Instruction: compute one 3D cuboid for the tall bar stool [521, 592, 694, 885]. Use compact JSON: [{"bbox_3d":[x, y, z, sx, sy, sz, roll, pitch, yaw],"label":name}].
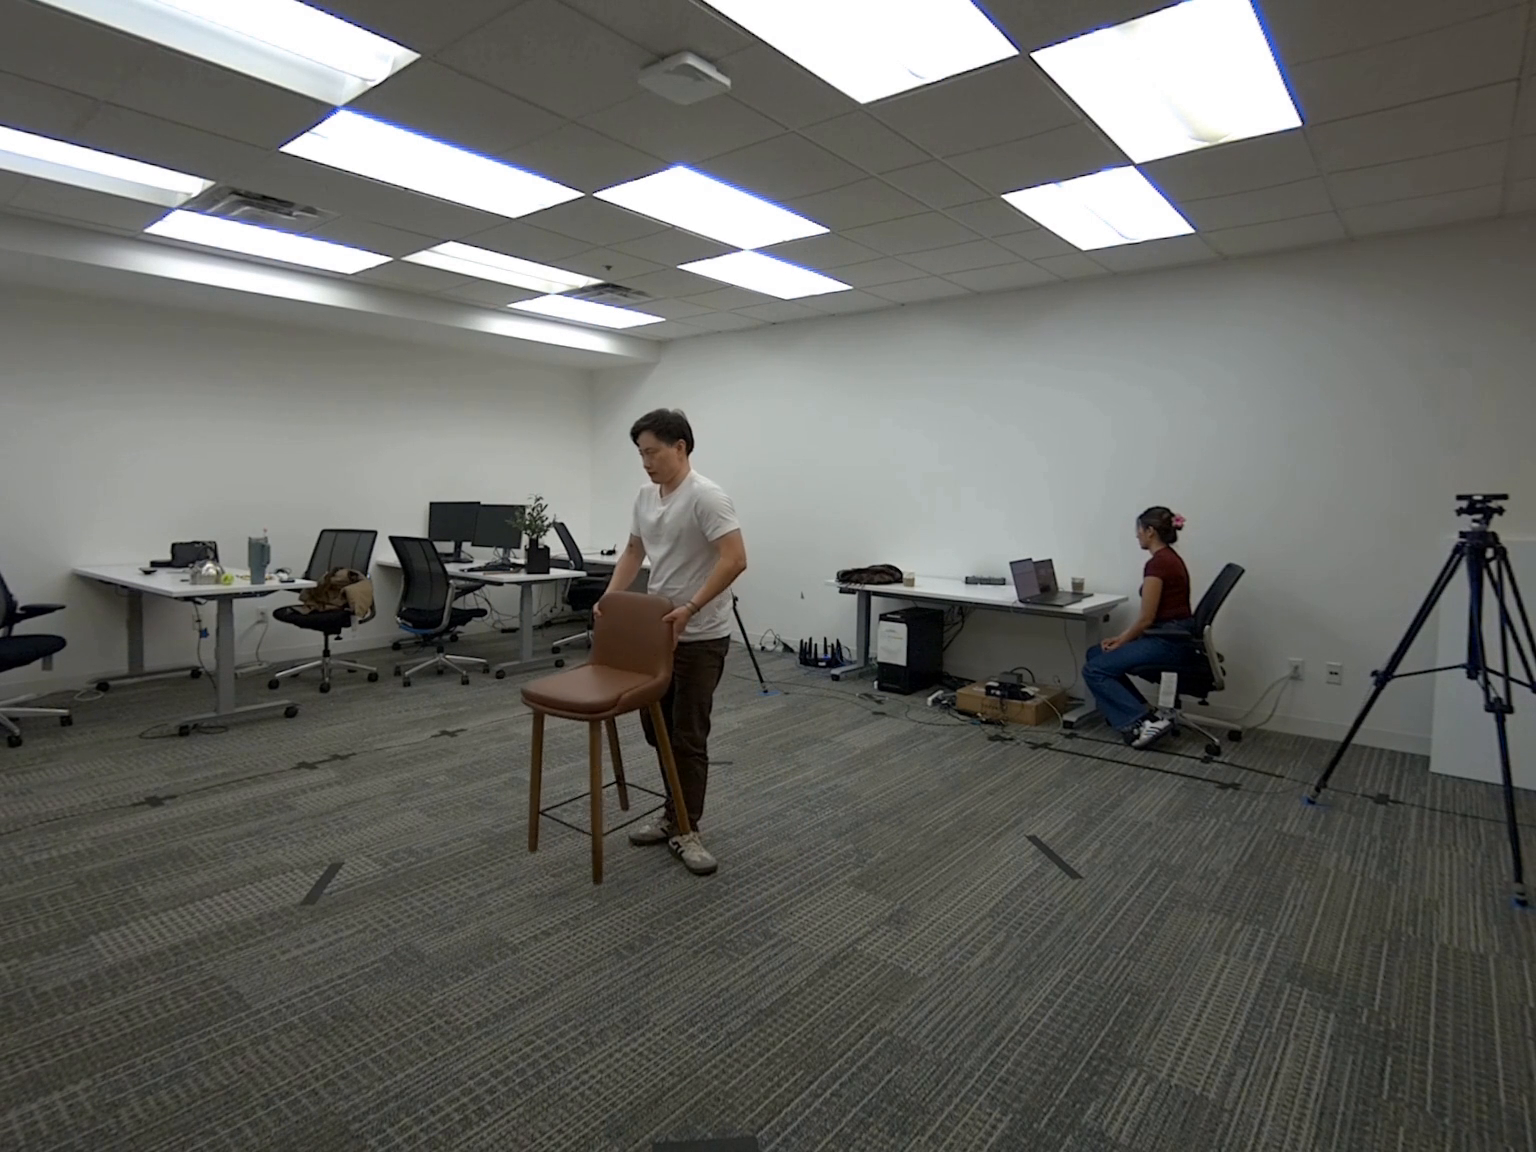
[{"bbox_3d":[-0.596,0.538,3.033,0.472,0.886,0.454,3,6,43],"label":"tall bar stool"}]
